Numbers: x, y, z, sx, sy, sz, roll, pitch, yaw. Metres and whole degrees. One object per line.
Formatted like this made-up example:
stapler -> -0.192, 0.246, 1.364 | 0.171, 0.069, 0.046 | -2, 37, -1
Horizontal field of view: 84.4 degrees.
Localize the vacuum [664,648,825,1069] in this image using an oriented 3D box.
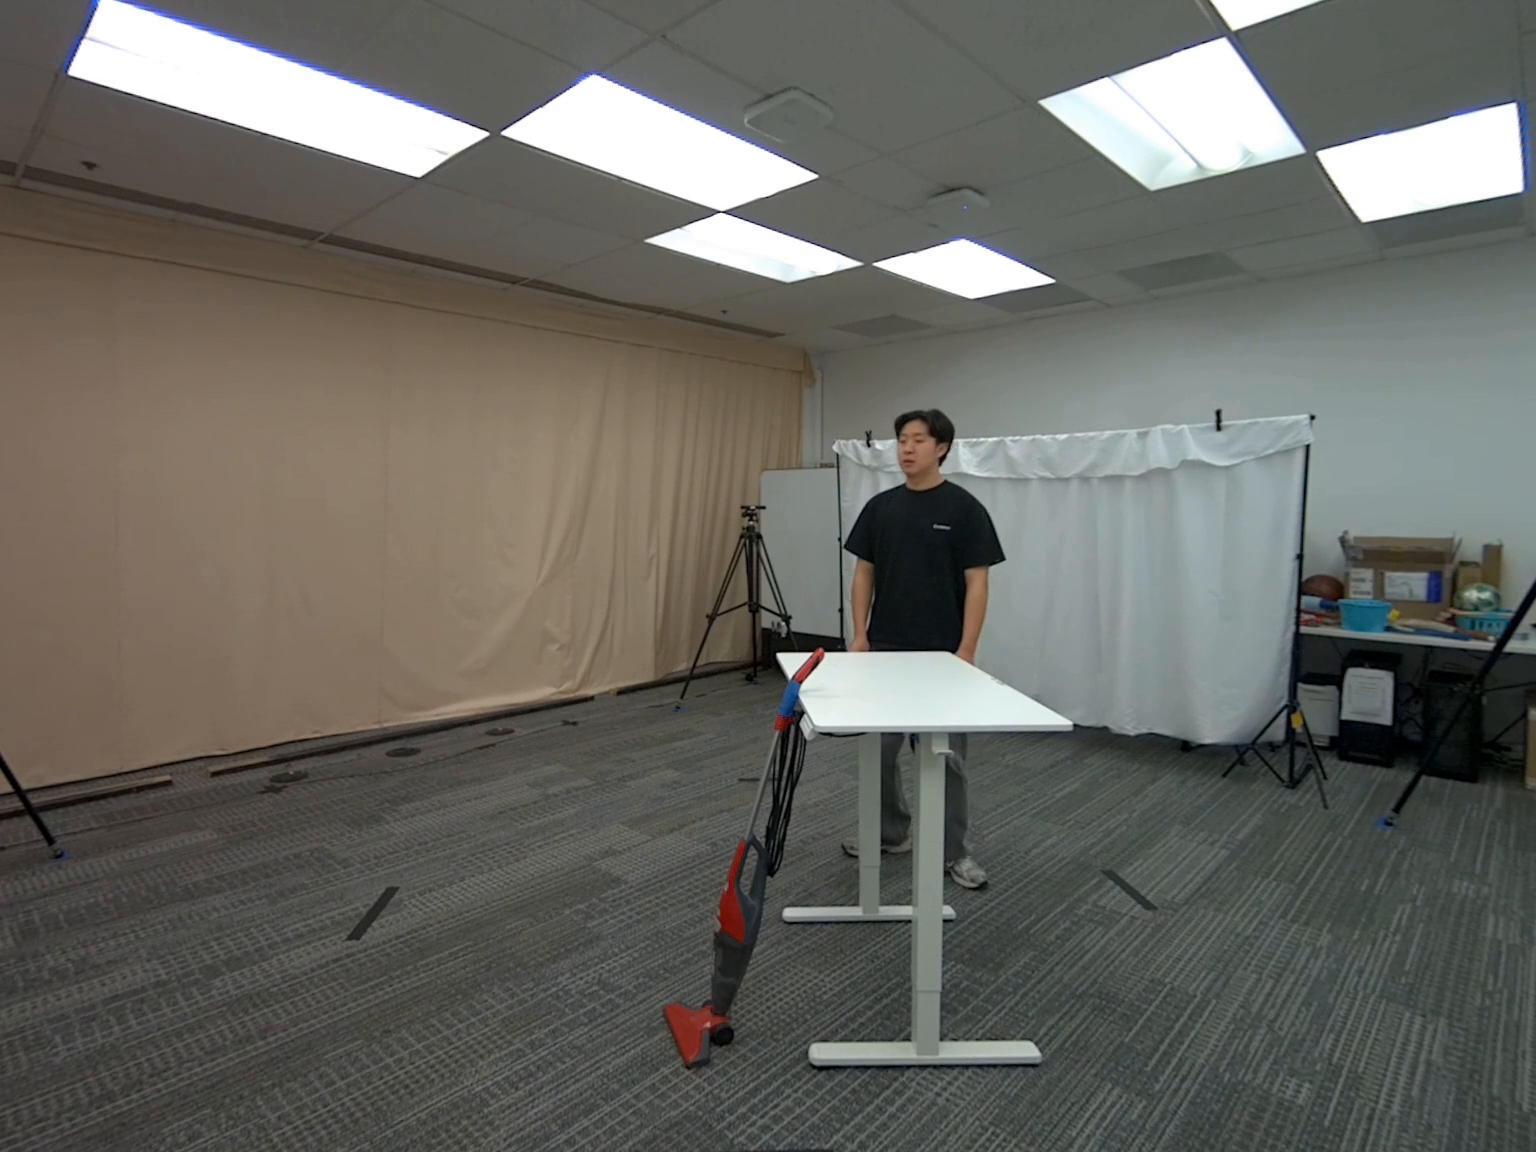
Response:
vacuum -> -0.016, 0.715, 2.243 | 0.140, 1.050, 0.258 | 19, -4, -22
